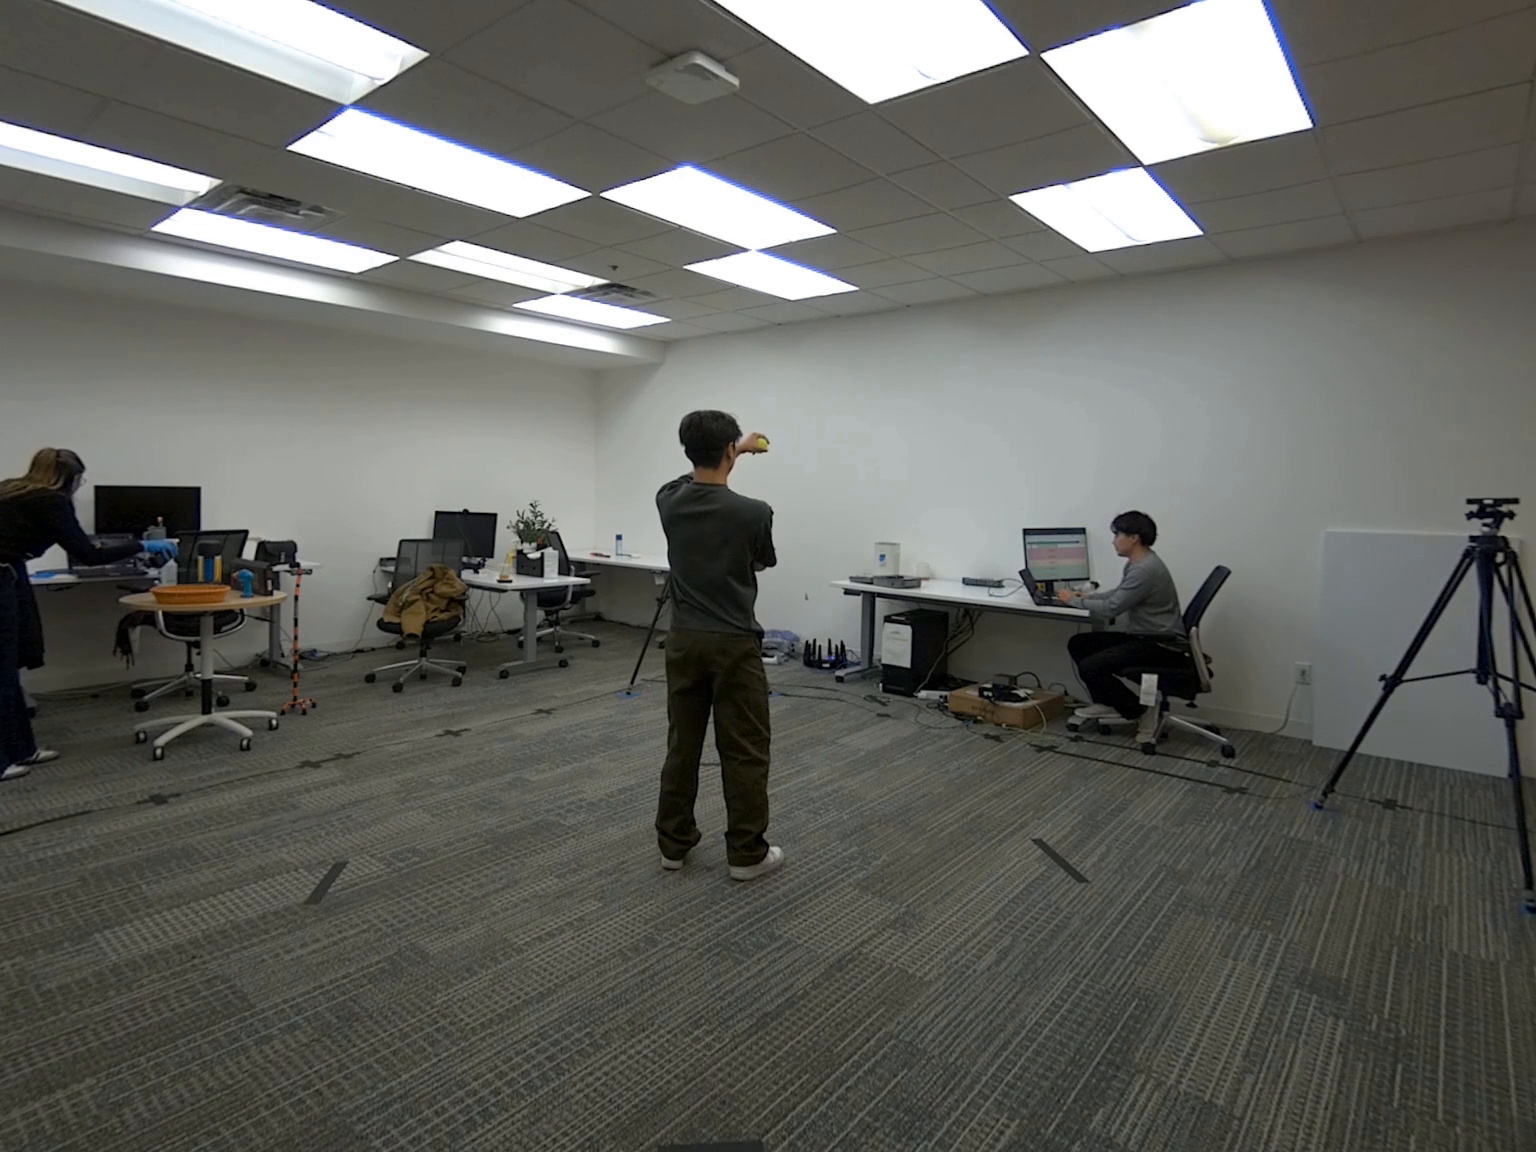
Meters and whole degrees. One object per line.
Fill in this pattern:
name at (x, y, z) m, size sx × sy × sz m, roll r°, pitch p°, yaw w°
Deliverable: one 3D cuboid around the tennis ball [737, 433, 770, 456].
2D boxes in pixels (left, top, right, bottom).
tennis ball at (-0.061, -0.561, 3.560) m, size 0.066 × 0.066 × 0.067 m, roll 1°, pitch 4°, yaw -2°
